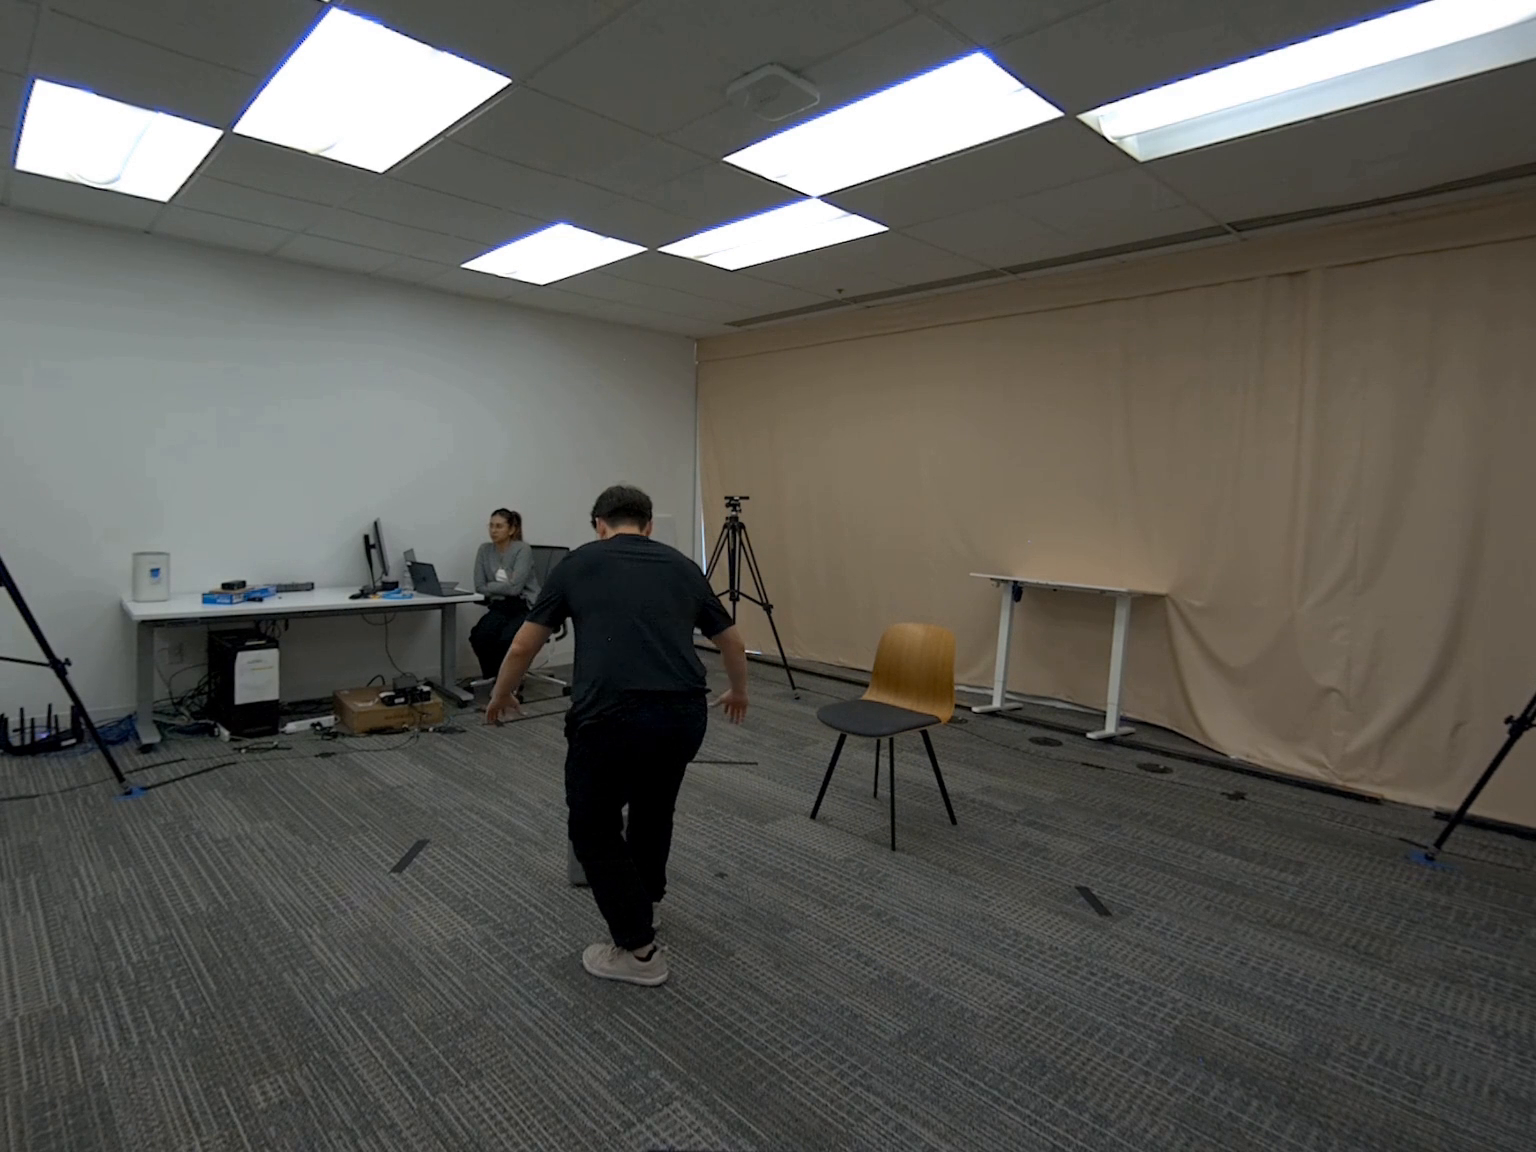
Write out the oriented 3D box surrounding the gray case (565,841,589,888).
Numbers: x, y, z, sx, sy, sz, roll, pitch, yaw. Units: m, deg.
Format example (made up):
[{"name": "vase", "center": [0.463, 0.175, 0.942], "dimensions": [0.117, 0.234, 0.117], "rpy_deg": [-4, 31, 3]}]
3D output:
[{"name": "gray case", "center": [-0.595, 0.970, 3.034], "dimensions": [0.256, 0.262, 0.104], "rpy_deg": [2, -8, -4]}]
